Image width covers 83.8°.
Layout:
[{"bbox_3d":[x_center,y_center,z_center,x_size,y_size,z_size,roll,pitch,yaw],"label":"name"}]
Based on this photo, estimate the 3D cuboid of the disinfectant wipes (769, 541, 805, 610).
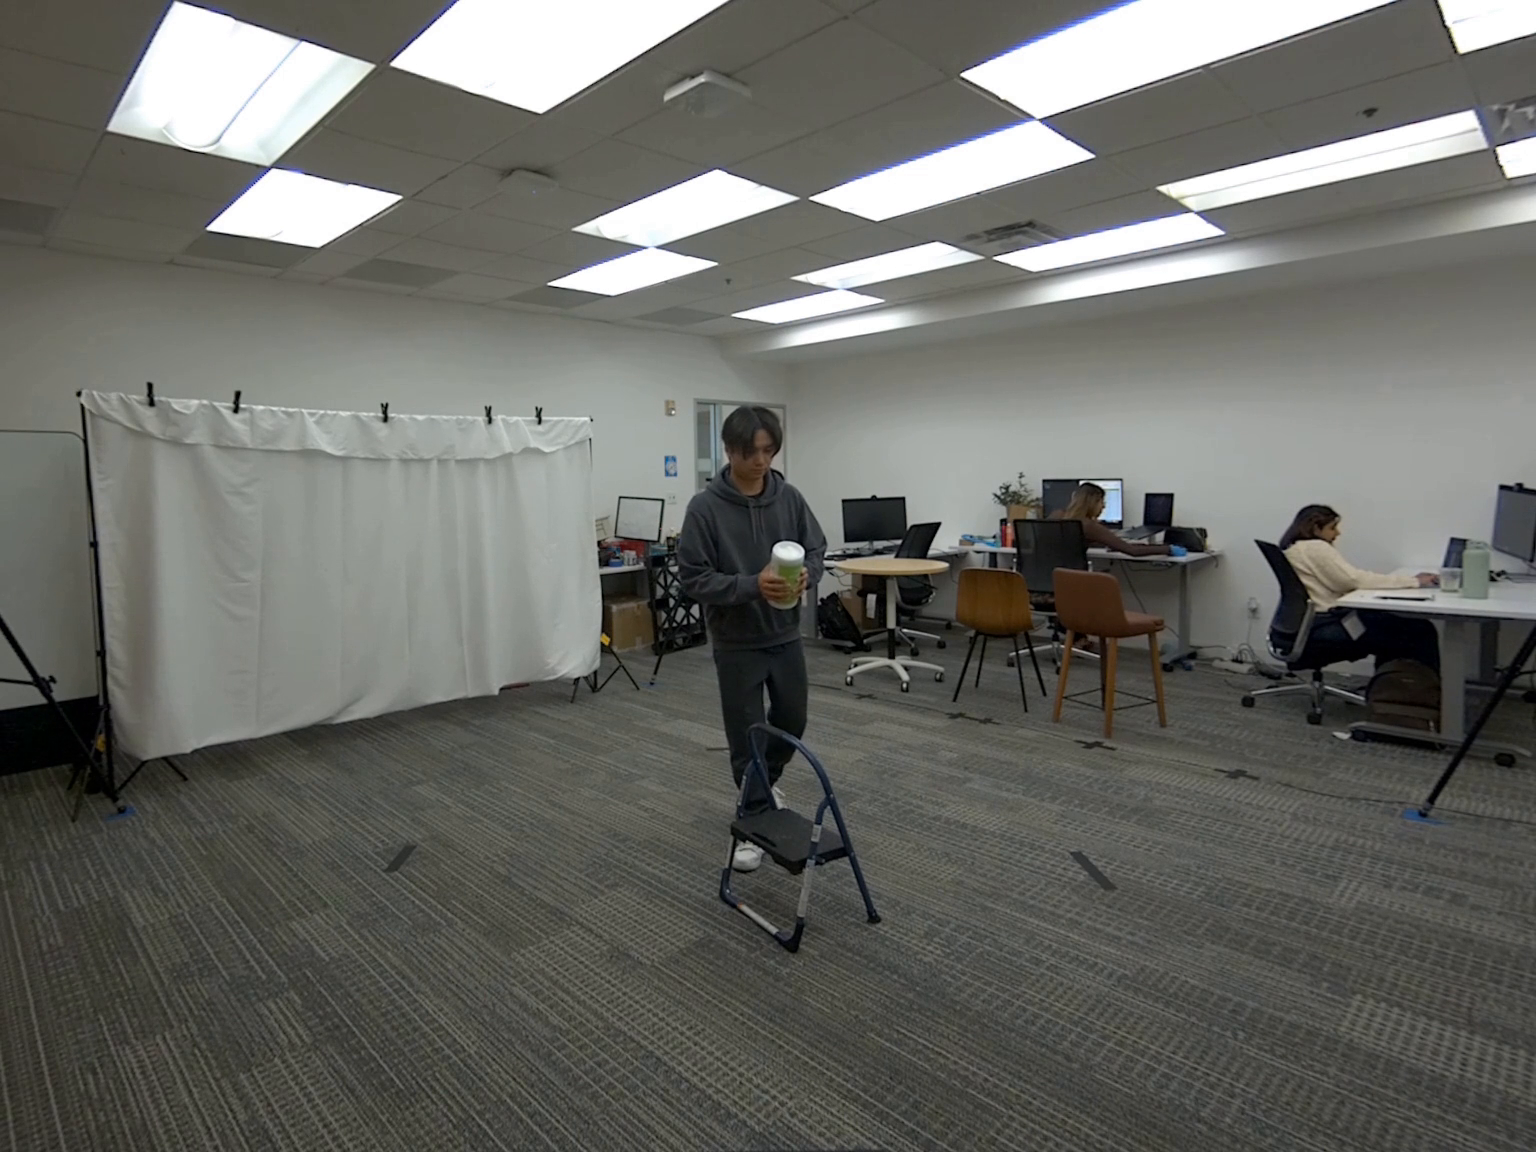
[{"bbox_3d":[0.057,-0.001,2.910,0.117,0.212,0.121,2,37,-3],"label":"disinfectant wipes"}]
